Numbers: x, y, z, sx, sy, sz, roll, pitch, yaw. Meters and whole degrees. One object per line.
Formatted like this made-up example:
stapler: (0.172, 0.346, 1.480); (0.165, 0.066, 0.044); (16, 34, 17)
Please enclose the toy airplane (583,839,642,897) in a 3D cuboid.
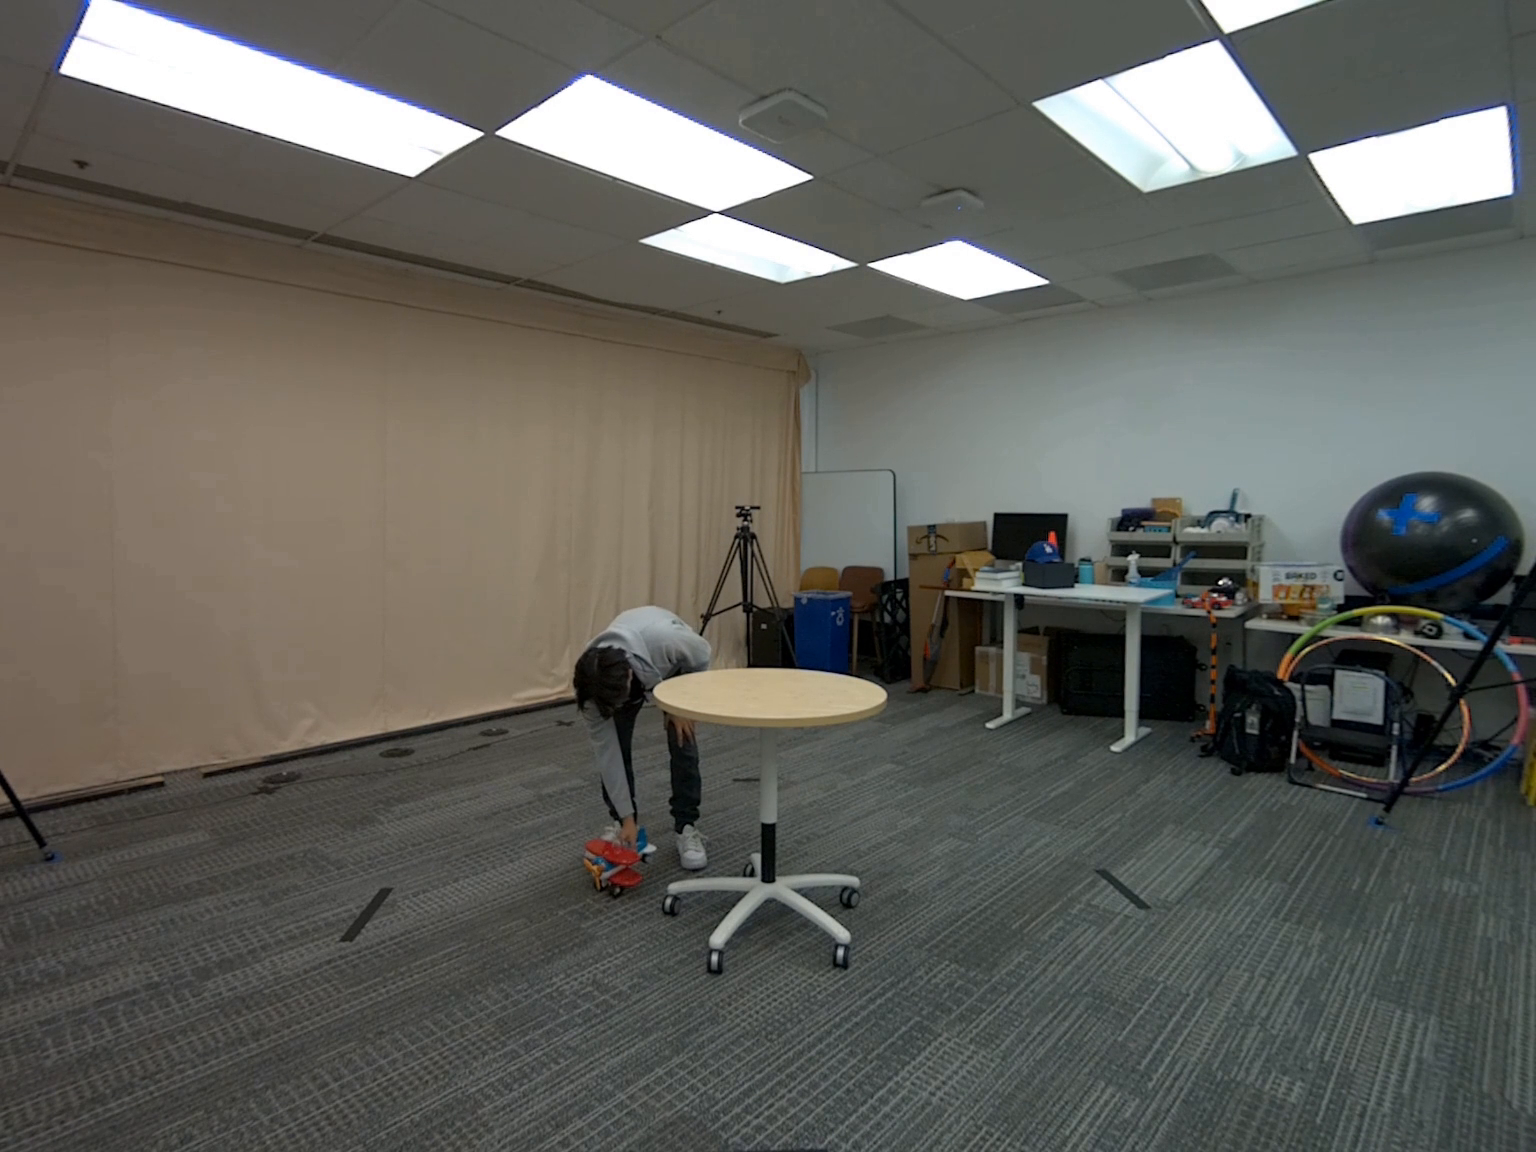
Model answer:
toy airplane: (-0.556, 1.043, 3.089); (0.255, 0.154, 0.260); (-9, 21, 15)
